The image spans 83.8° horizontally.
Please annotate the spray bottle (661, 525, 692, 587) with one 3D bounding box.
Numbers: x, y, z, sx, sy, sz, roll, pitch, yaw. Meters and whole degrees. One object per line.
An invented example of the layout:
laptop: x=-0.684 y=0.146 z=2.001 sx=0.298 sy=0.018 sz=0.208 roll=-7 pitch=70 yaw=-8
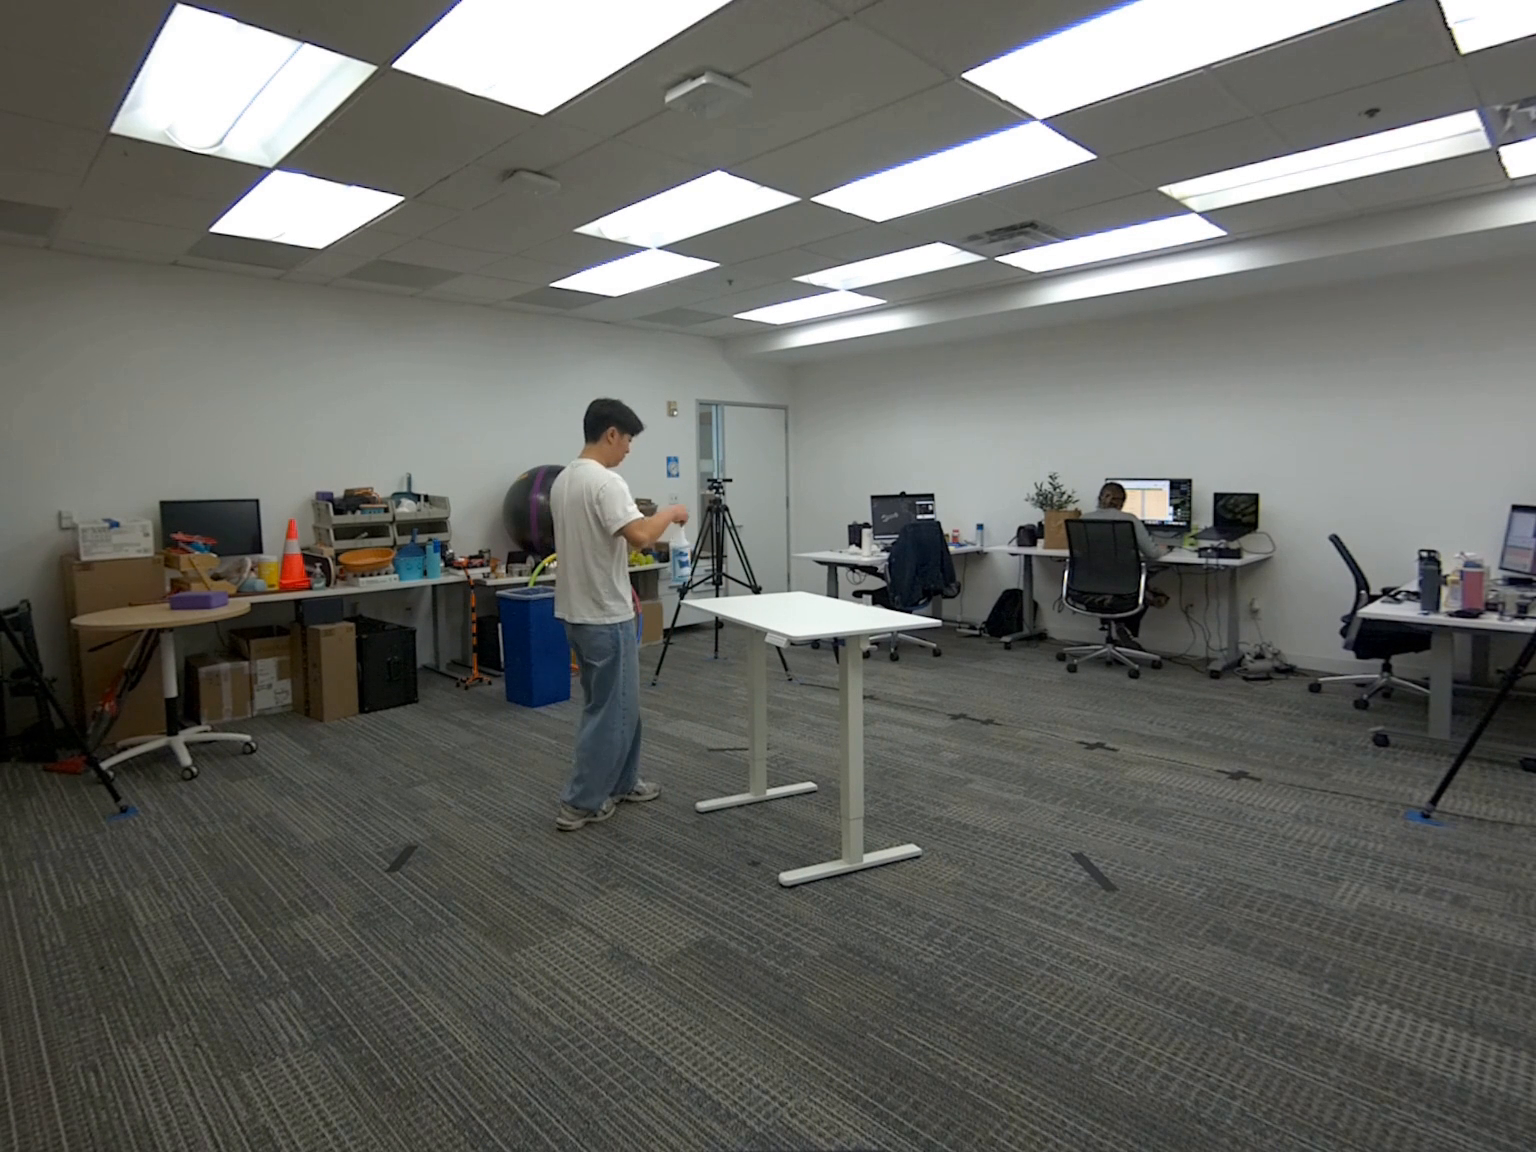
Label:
spray bottle: x=-0.375 y=-0.105 z=3.559 sx=0.089 sy=0.295 sz=0.088 roll=3 pitch=10 yaw=30
